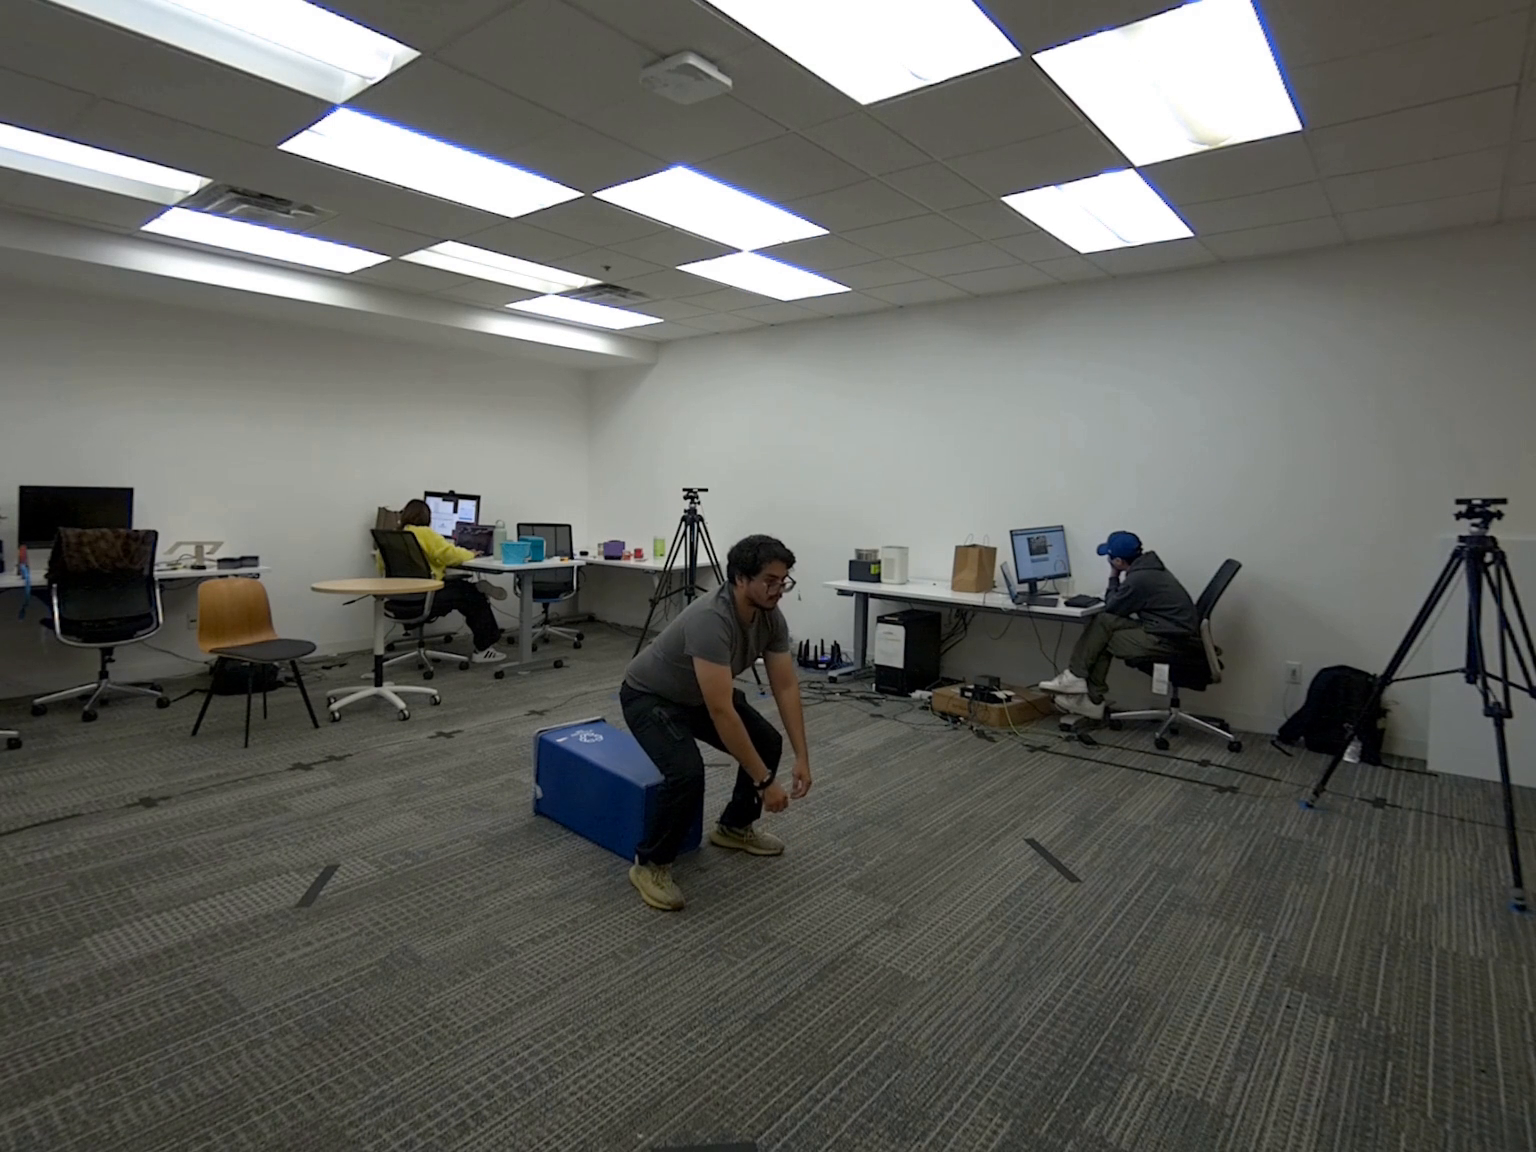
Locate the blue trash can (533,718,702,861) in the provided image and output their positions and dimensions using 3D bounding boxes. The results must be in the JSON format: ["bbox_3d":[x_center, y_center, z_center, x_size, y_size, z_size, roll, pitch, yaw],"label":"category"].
[{"bbox_3d":[-0.622,0.852,3.453,0.739,0.372,0.366,8,8,44],"label":"blue trash can"}]
